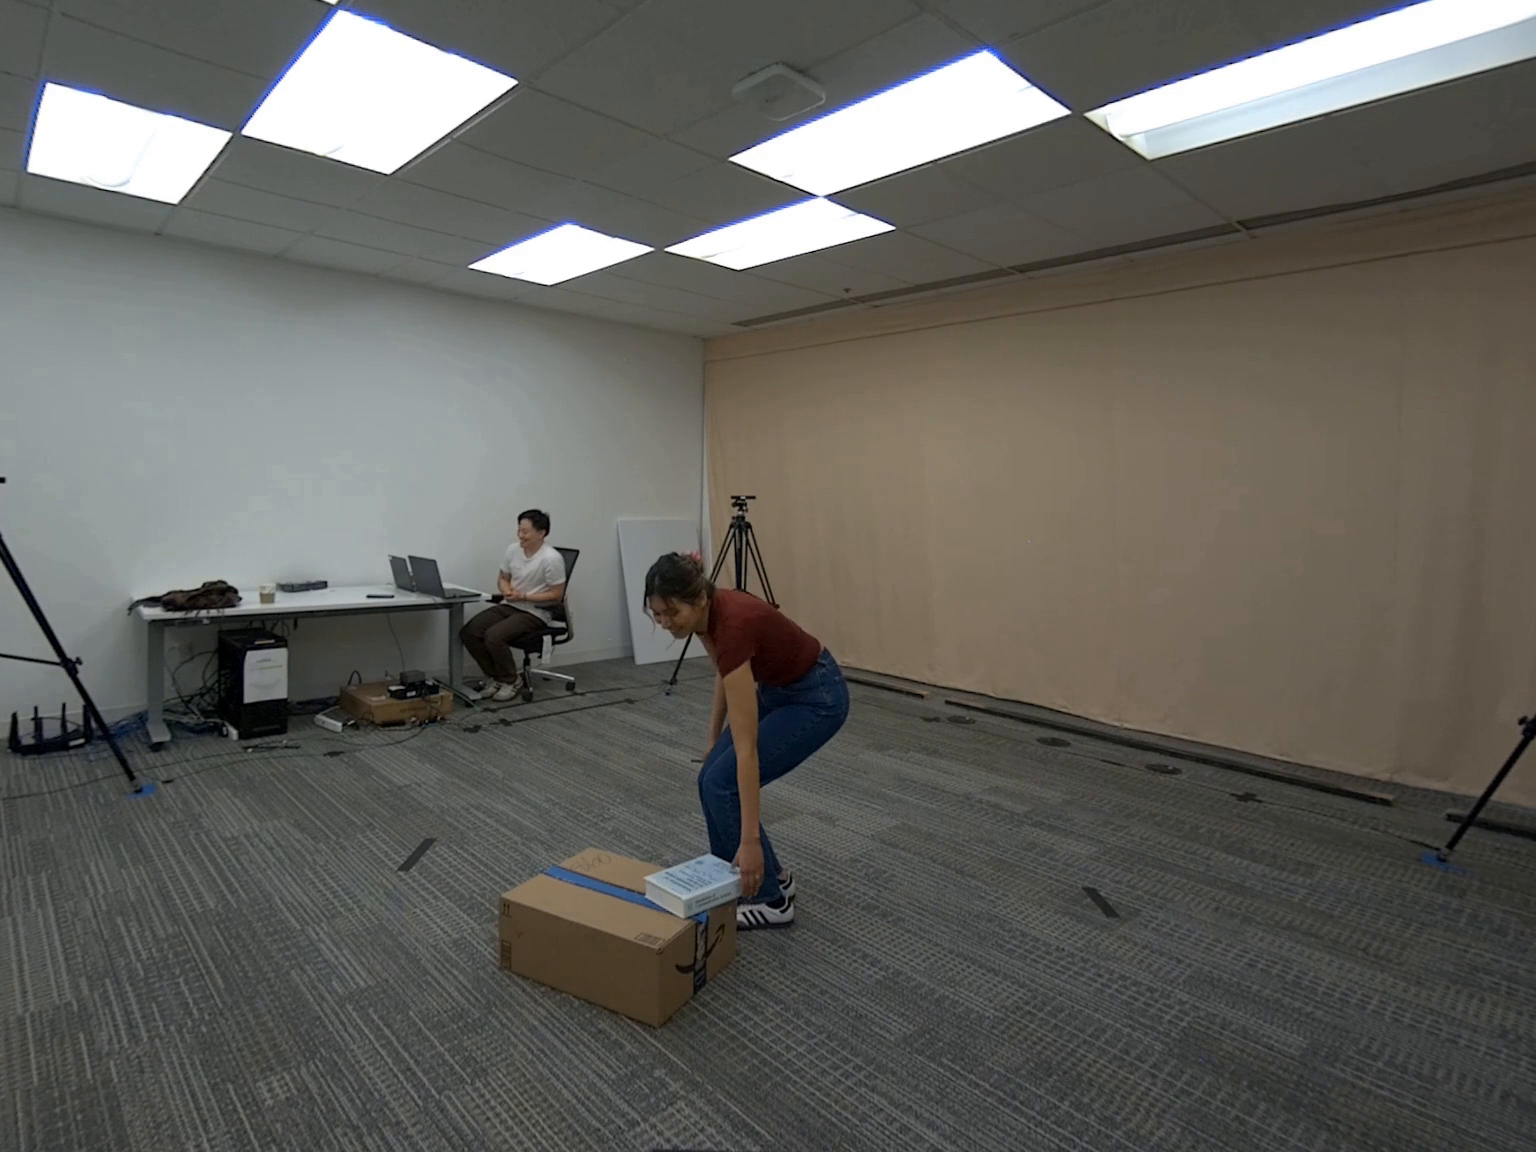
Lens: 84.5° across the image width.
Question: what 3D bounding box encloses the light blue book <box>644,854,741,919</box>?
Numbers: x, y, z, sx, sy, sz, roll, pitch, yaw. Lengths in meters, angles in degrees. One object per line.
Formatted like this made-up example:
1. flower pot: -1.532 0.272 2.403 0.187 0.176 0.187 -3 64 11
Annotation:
1. light blue book: -0.215 0.912 2.485 0.255 0.059 0.196 -3 6 -44
